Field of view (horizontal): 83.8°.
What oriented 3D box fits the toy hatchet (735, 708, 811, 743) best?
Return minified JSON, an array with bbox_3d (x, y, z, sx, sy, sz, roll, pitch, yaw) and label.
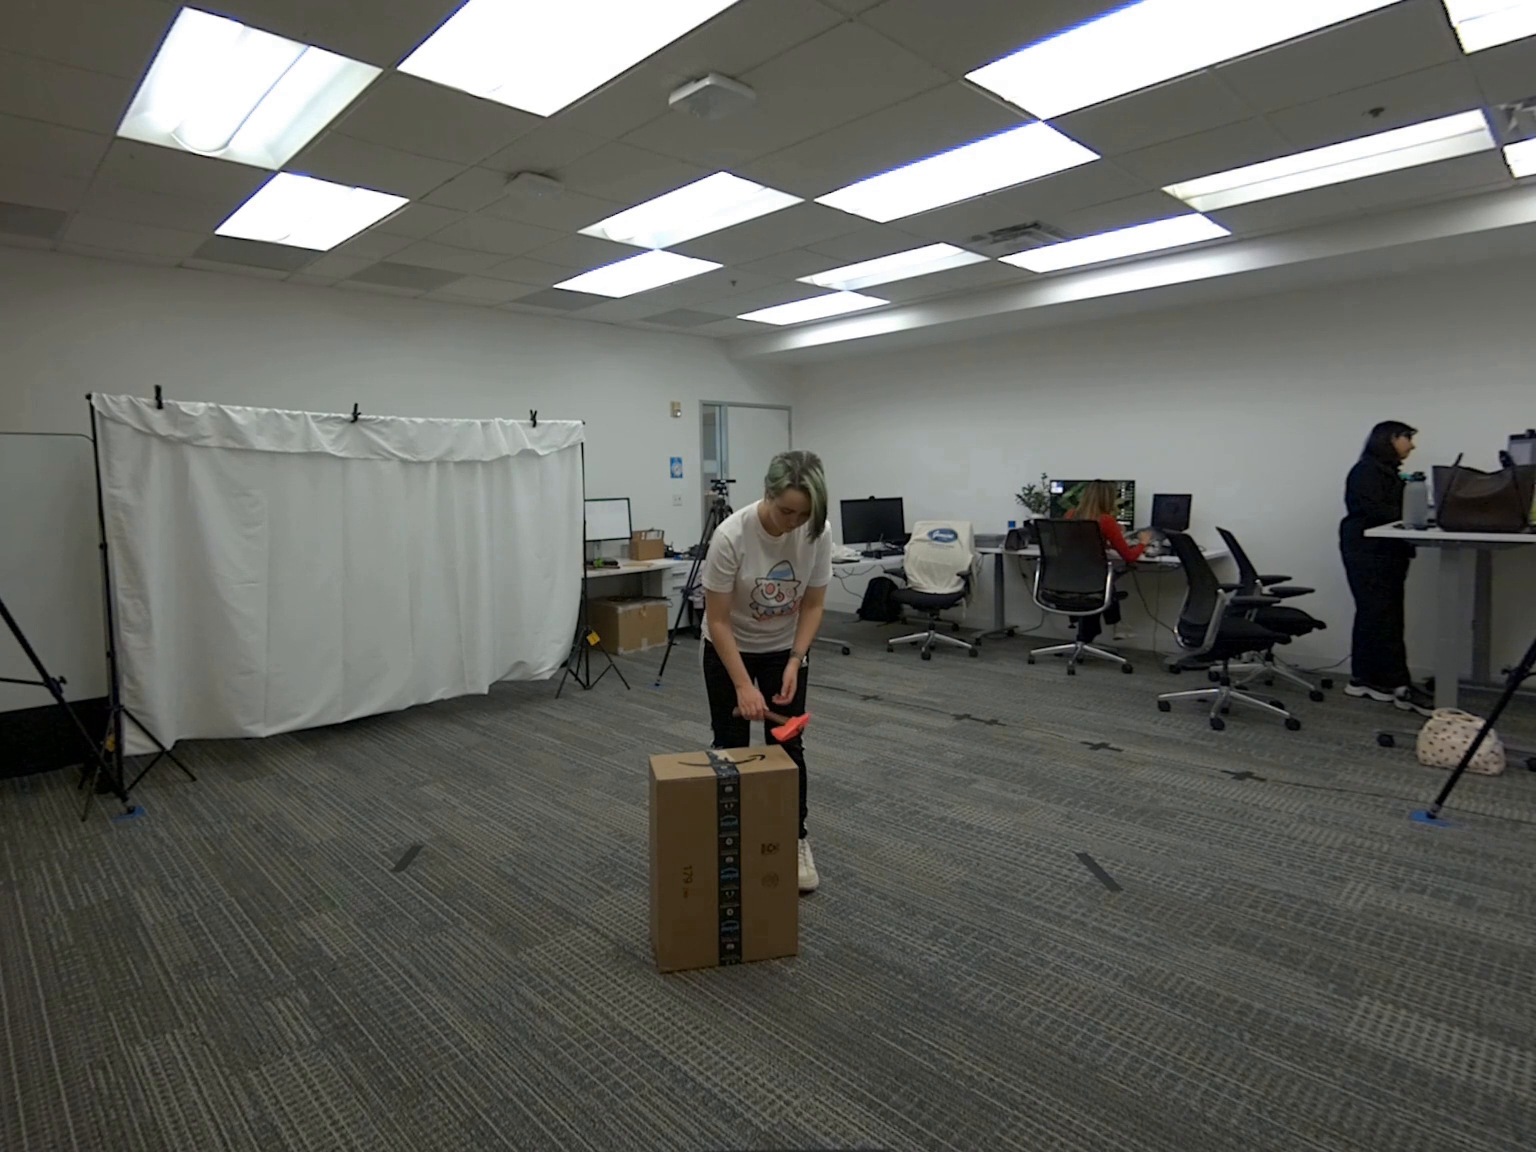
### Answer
[{"bbox_3d":[0.001,0.451,2.626,0.277,0.029,0.131,-3,31,34],"label":"toy hatchet"}]
